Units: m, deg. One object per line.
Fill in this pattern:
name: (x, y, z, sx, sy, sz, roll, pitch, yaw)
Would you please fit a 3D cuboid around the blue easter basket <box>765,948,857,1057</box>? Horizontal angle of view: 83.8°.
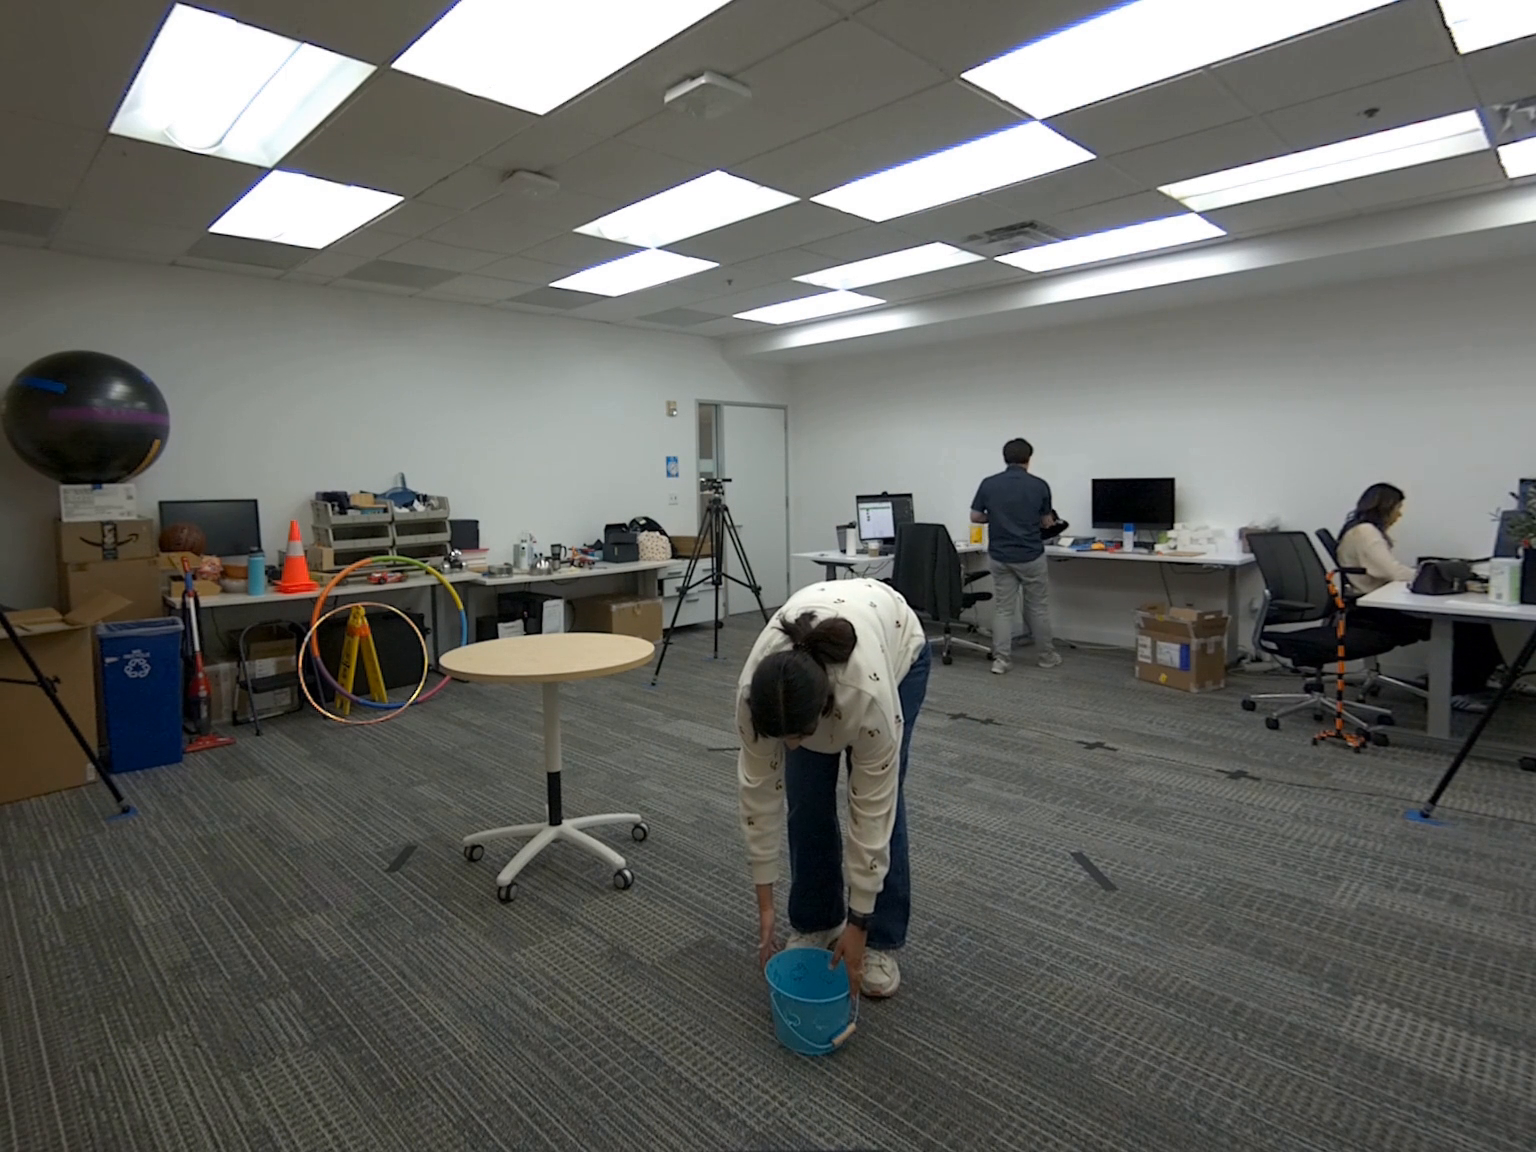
blue easter basket: (0.116, 1.077, 2.152, 0.243, 0.155, 0.245, -1, 5, -2)
